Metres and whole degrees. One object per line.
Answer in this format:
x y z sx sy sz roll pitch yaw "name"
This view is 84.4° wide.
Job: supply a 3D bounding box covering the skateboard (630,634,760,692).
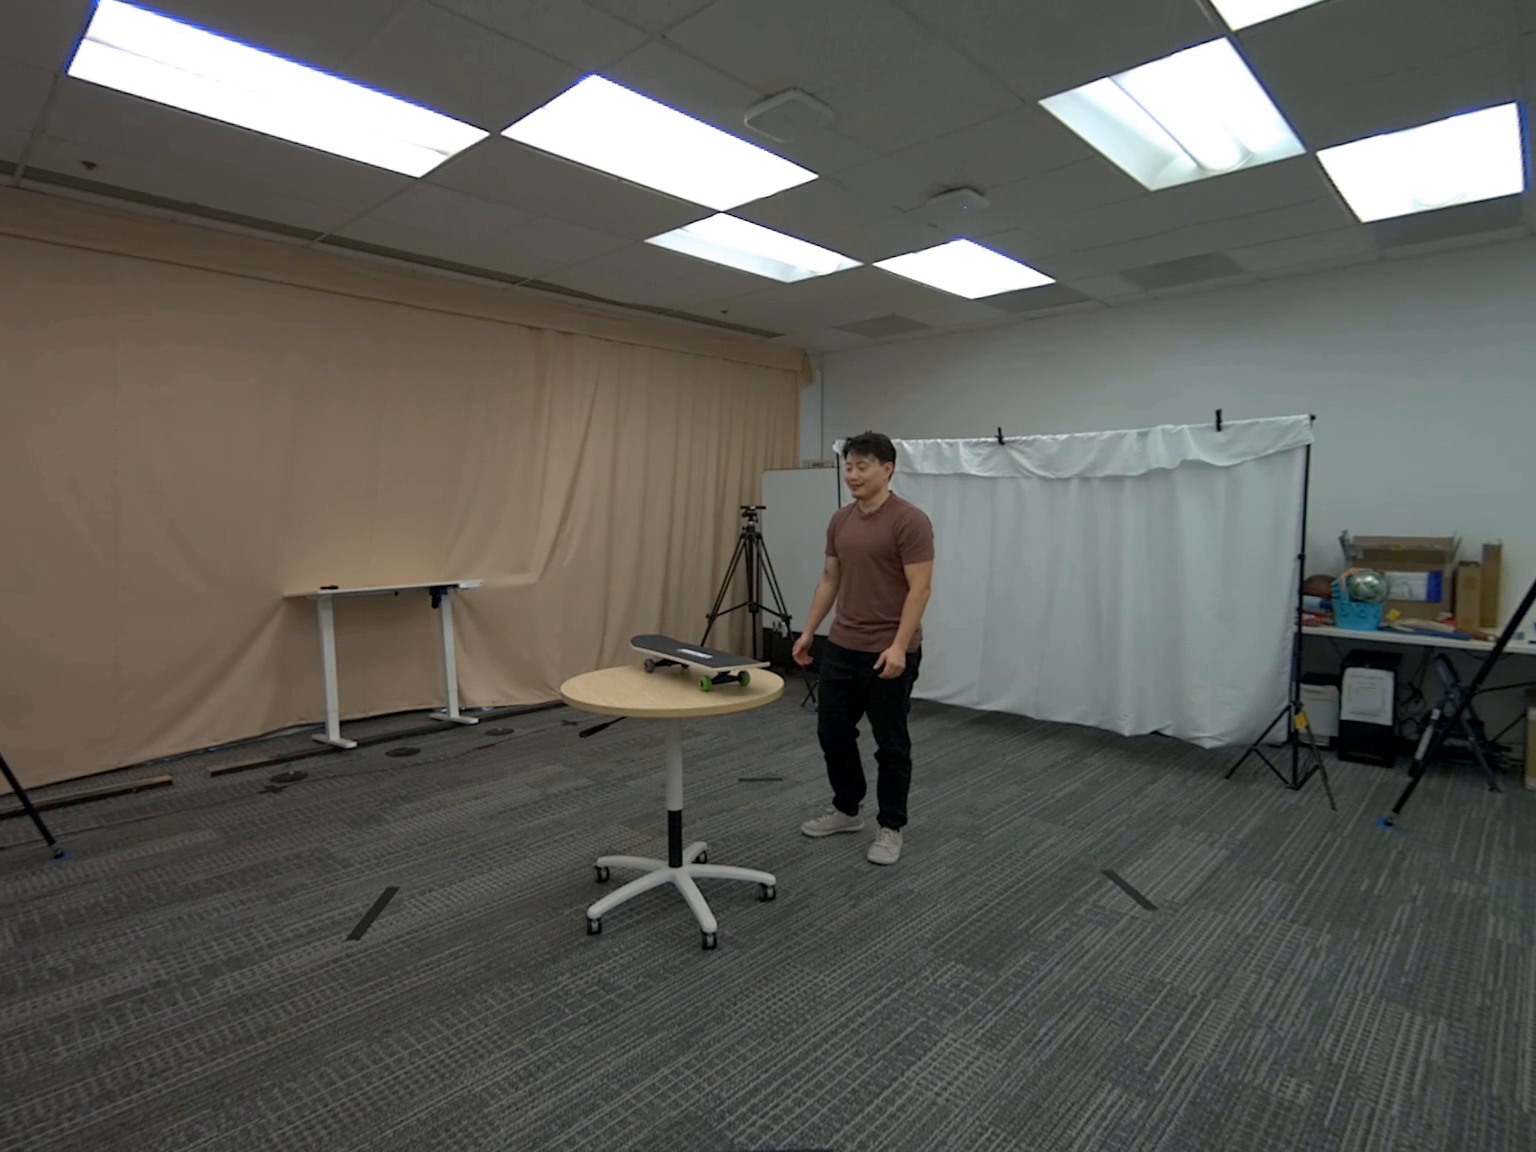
-0.256 0.315 2.970 0.188 0.110 0.809 -4 5 -33 "skateboard"
